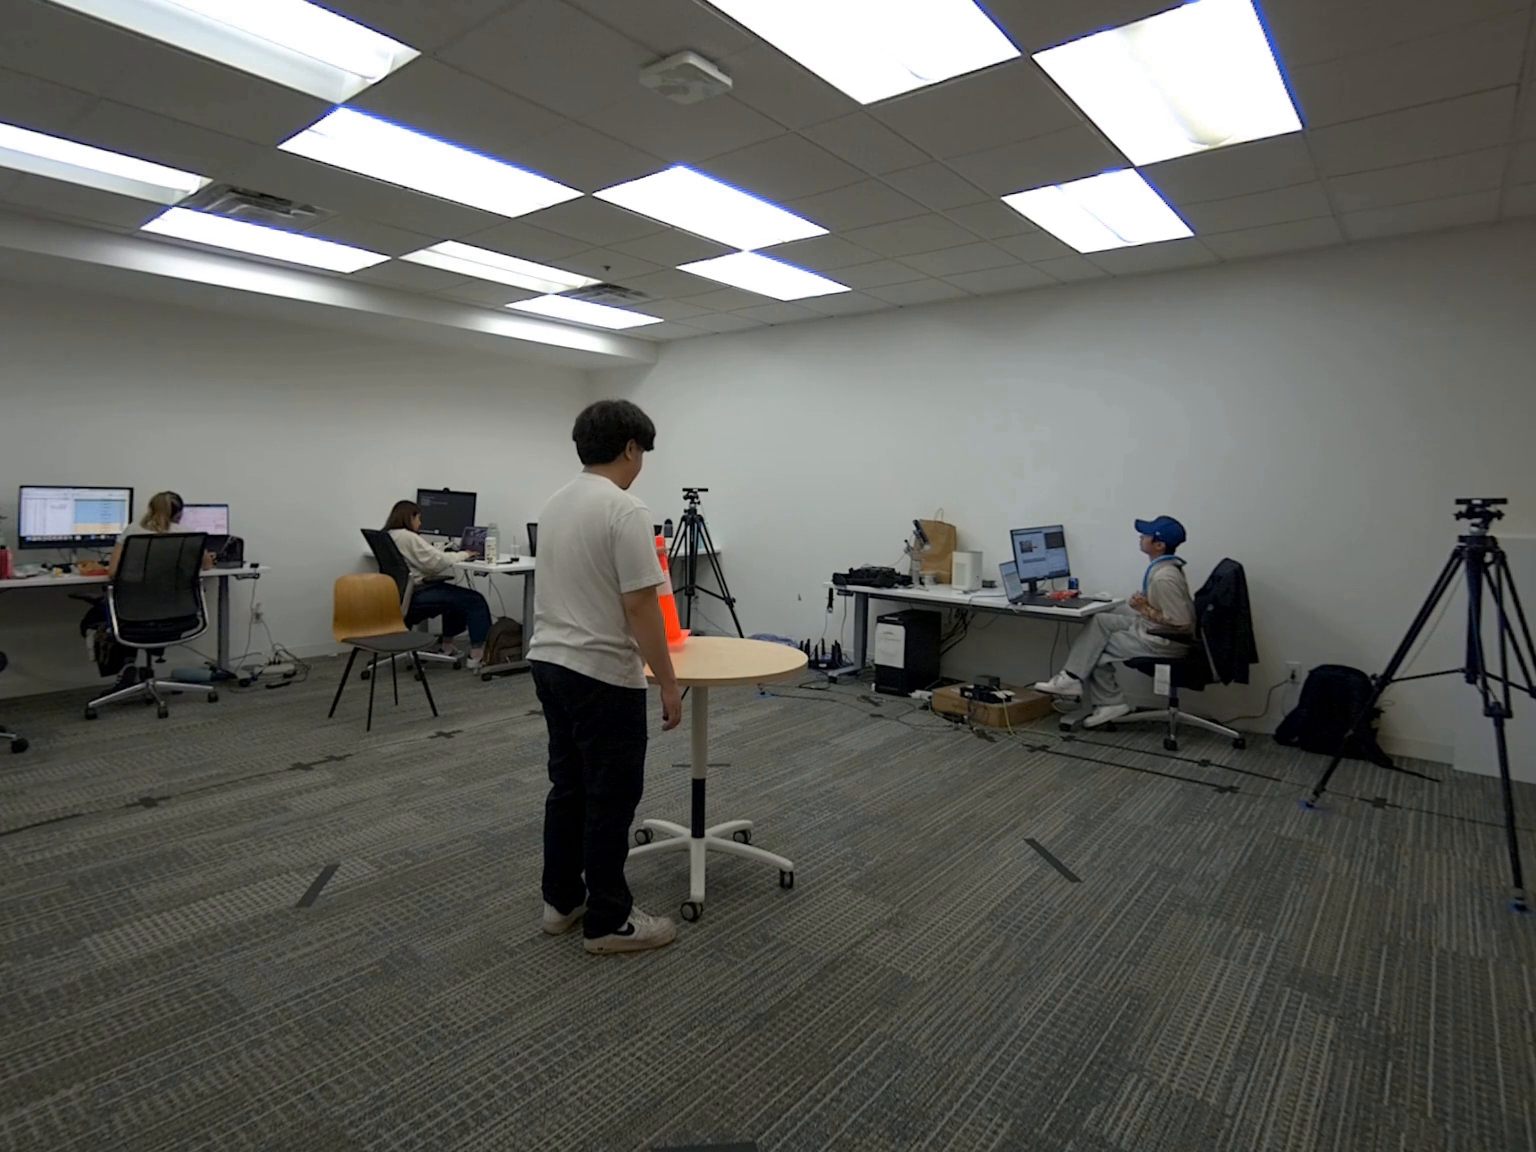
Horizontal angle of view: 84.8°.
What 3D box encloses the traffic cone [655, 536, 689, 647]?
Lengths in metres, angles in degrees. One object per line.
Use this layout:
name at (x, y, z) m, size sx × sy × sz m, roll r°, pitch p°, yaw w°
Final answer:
traffic cone at (-0.416, 0.044, 3.143) m, size 0.206 × 0.381 × 0.203 m, roll 1°, pitch 6°, yaw 5°
